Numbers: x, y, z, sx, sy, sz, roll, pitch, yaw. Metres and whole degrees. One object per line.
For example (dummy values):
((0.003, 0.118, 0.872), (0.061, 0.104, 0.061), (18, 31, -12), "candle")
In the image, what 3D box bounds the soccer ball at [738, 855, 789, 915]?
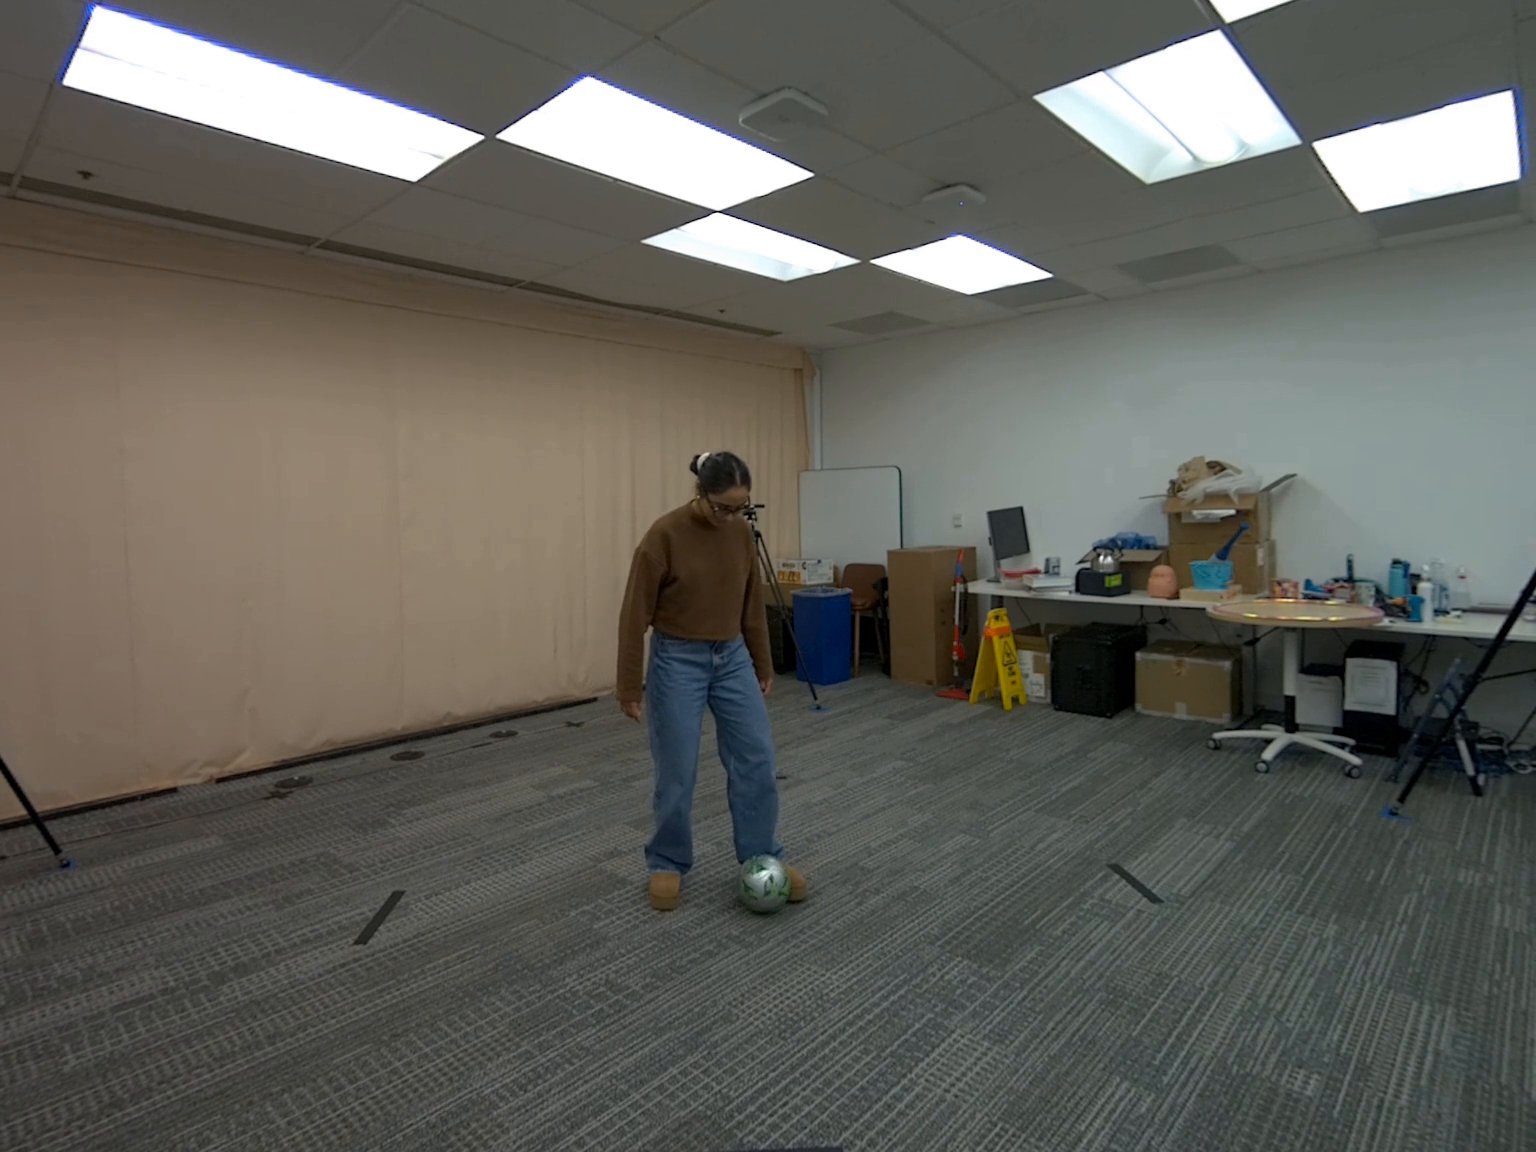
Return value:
((-0.021, 1.050, 2.891), (0.187, 0.187, 0.188), (-1, 4, -2), "soccer ball")
